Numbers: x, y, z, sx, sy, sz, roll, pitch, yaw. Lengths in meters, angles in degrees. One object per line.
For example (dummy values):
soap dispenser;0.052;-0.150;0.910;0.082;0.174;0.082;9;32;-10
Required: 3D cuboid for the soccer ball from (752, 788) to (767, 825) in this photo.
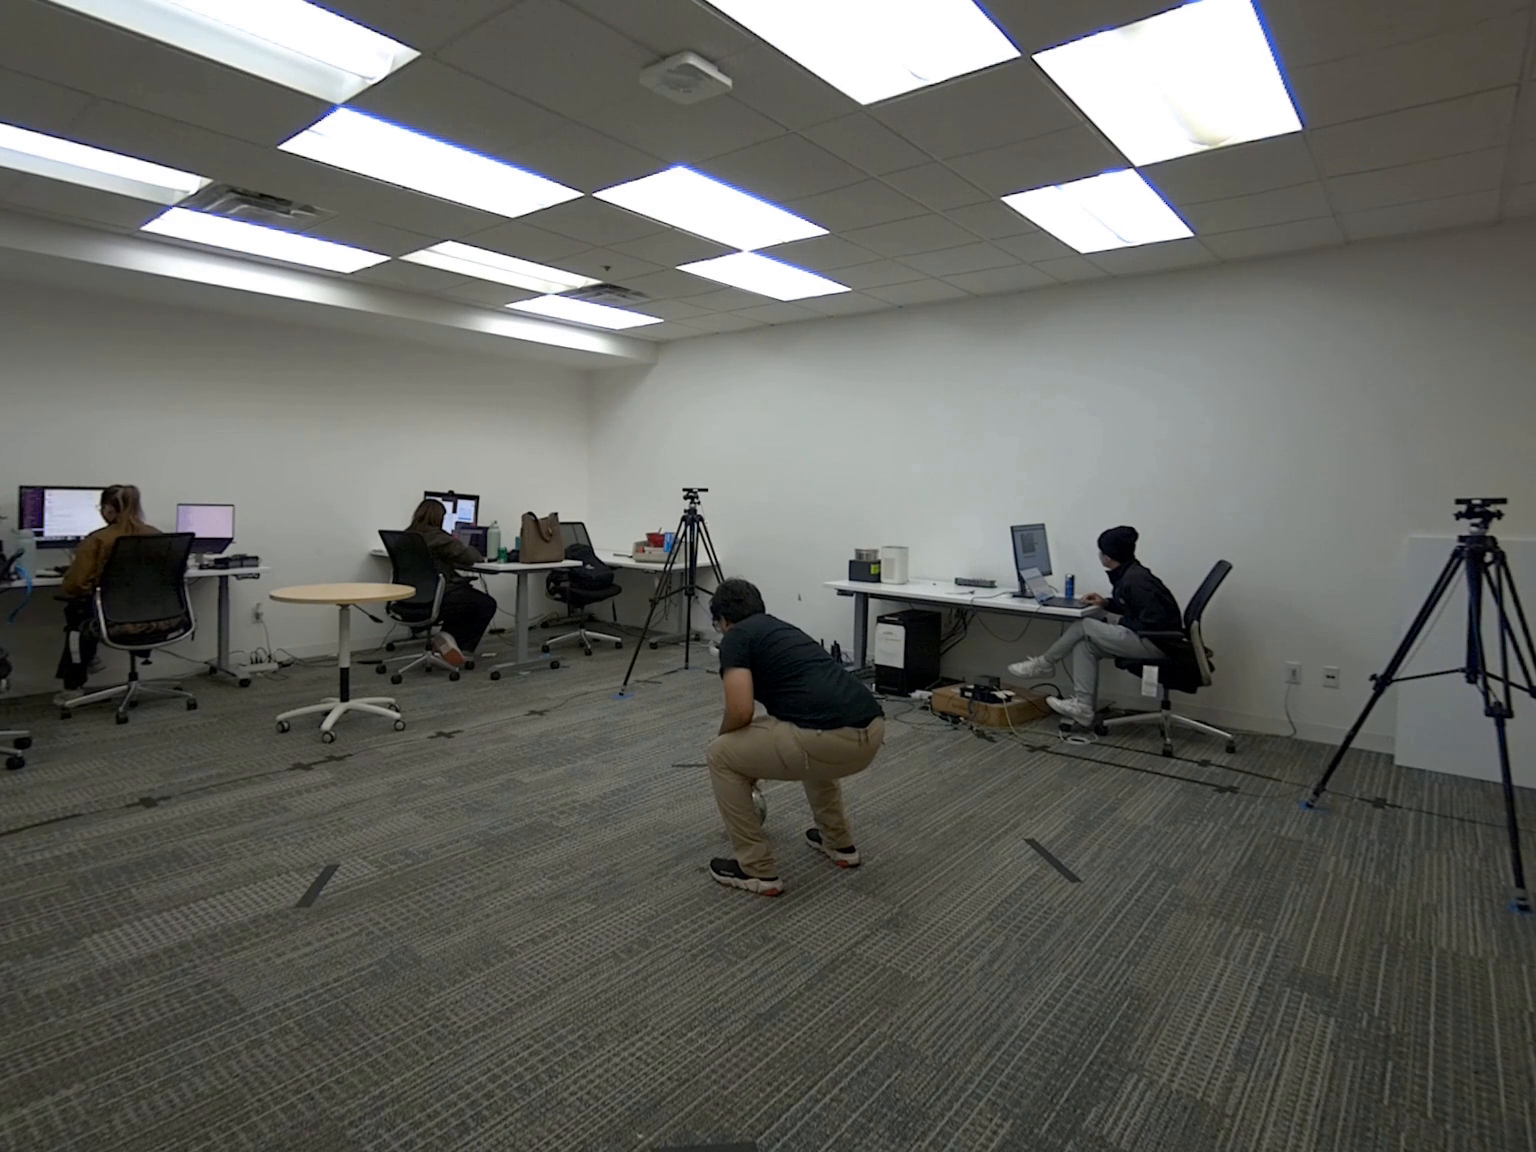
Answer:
soccer ball;-0.103;0.940;3.443;0.187;0.187;0.188;1;4;-2
